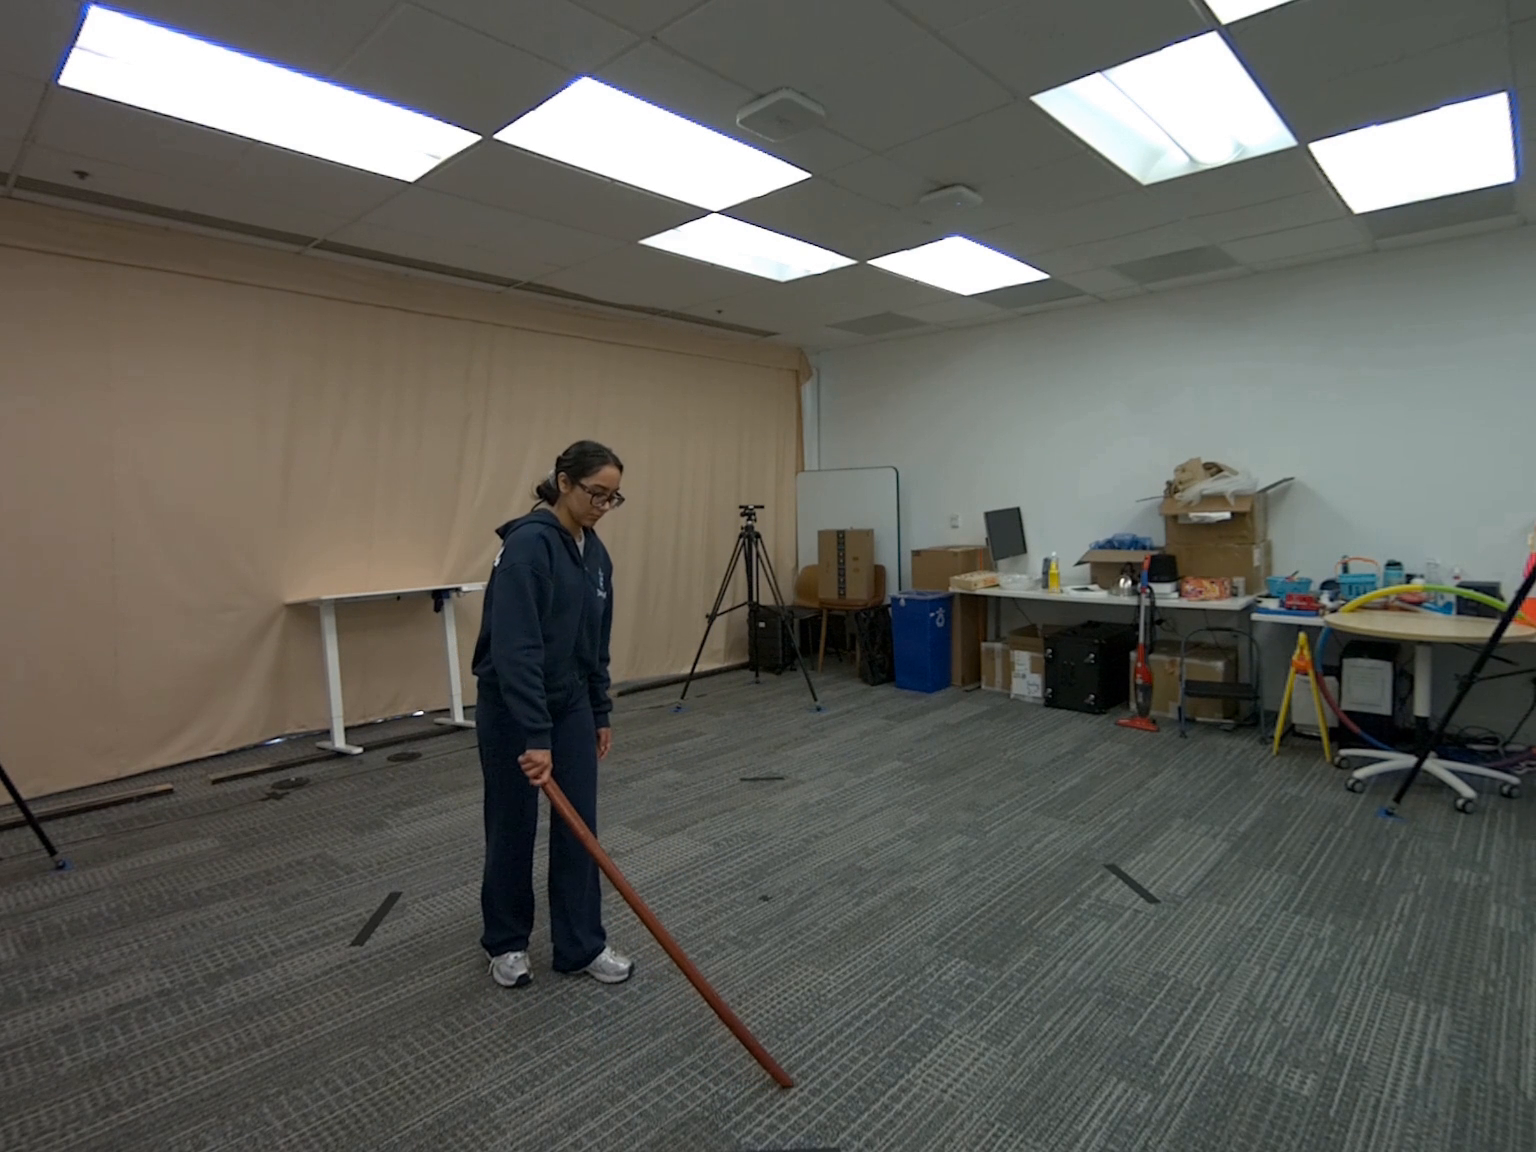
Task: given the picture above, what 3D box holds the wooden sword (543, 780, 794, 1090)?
[{"bbox_3d":[-0.287,0.849,2.070,0.024,1.033,0.051,-42,-6,-5],"label":"wooden sword"}]
